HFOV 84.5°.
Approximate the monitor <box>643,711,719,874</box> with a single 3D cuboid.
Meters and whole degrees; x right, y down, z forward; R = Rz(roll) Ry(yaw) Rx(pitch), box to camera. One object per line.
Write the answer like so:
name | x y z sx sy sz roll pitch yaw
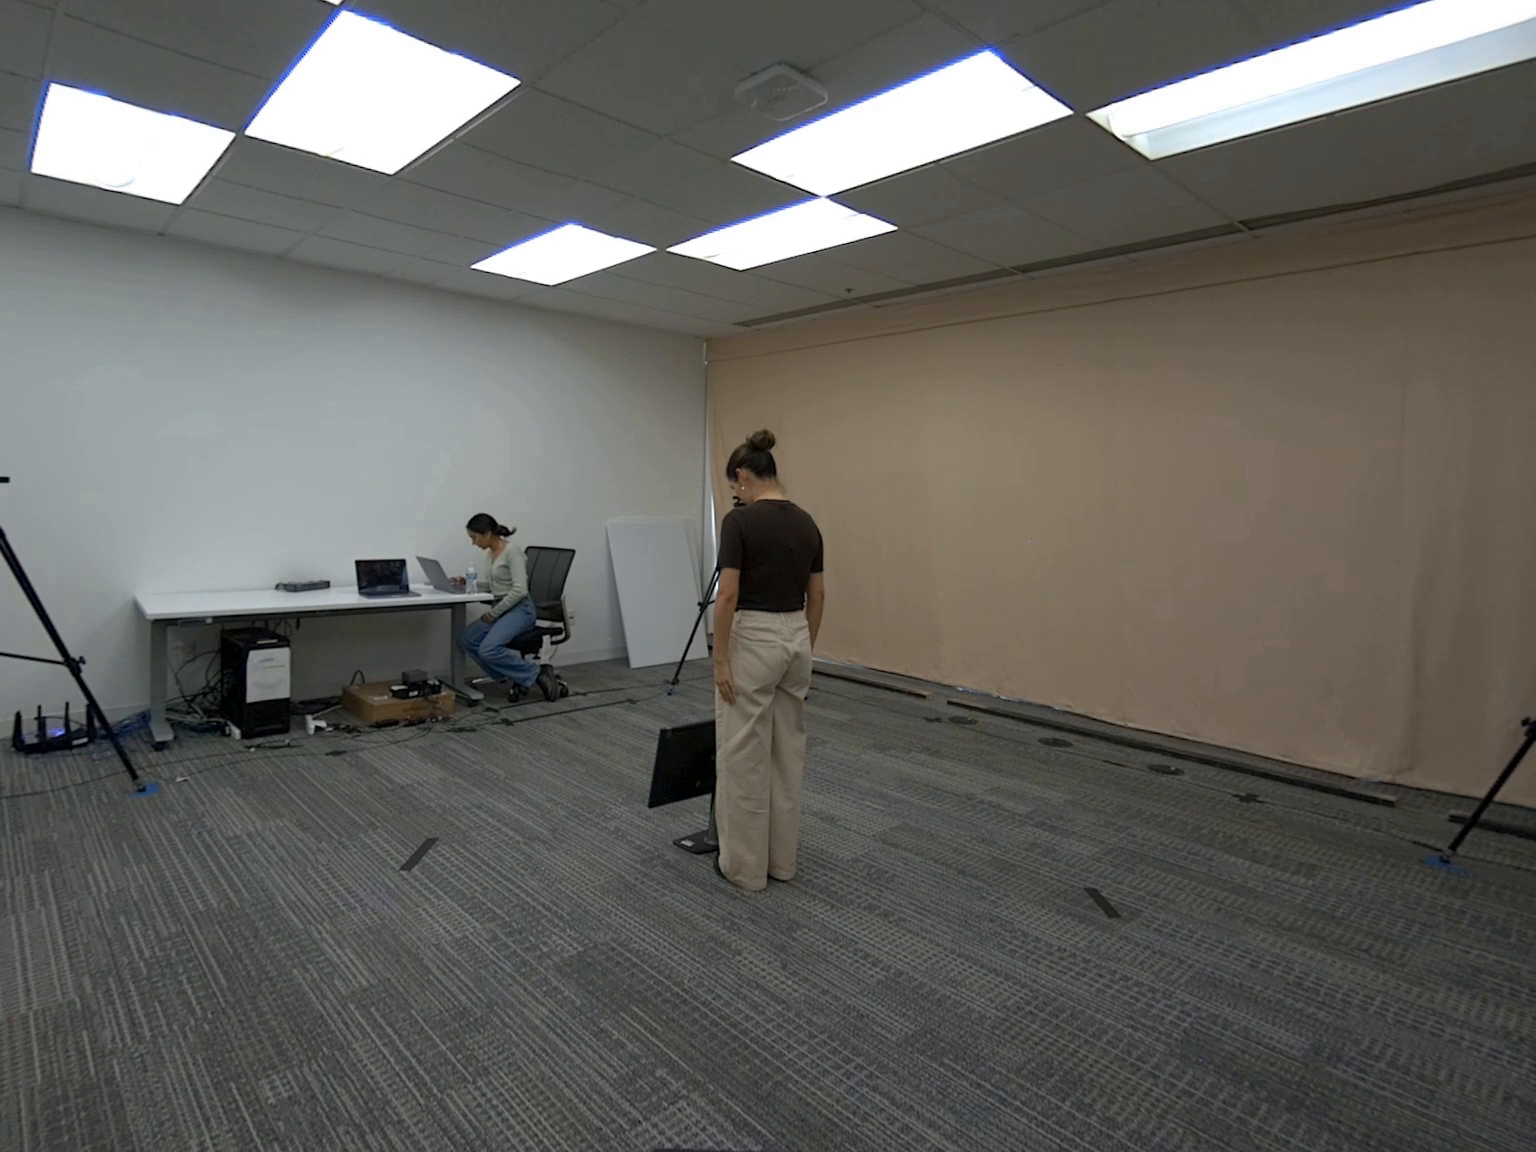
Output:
monitor | -0.216 0.826 3.378 0.527 0.521 0.192 -2 6 -41
